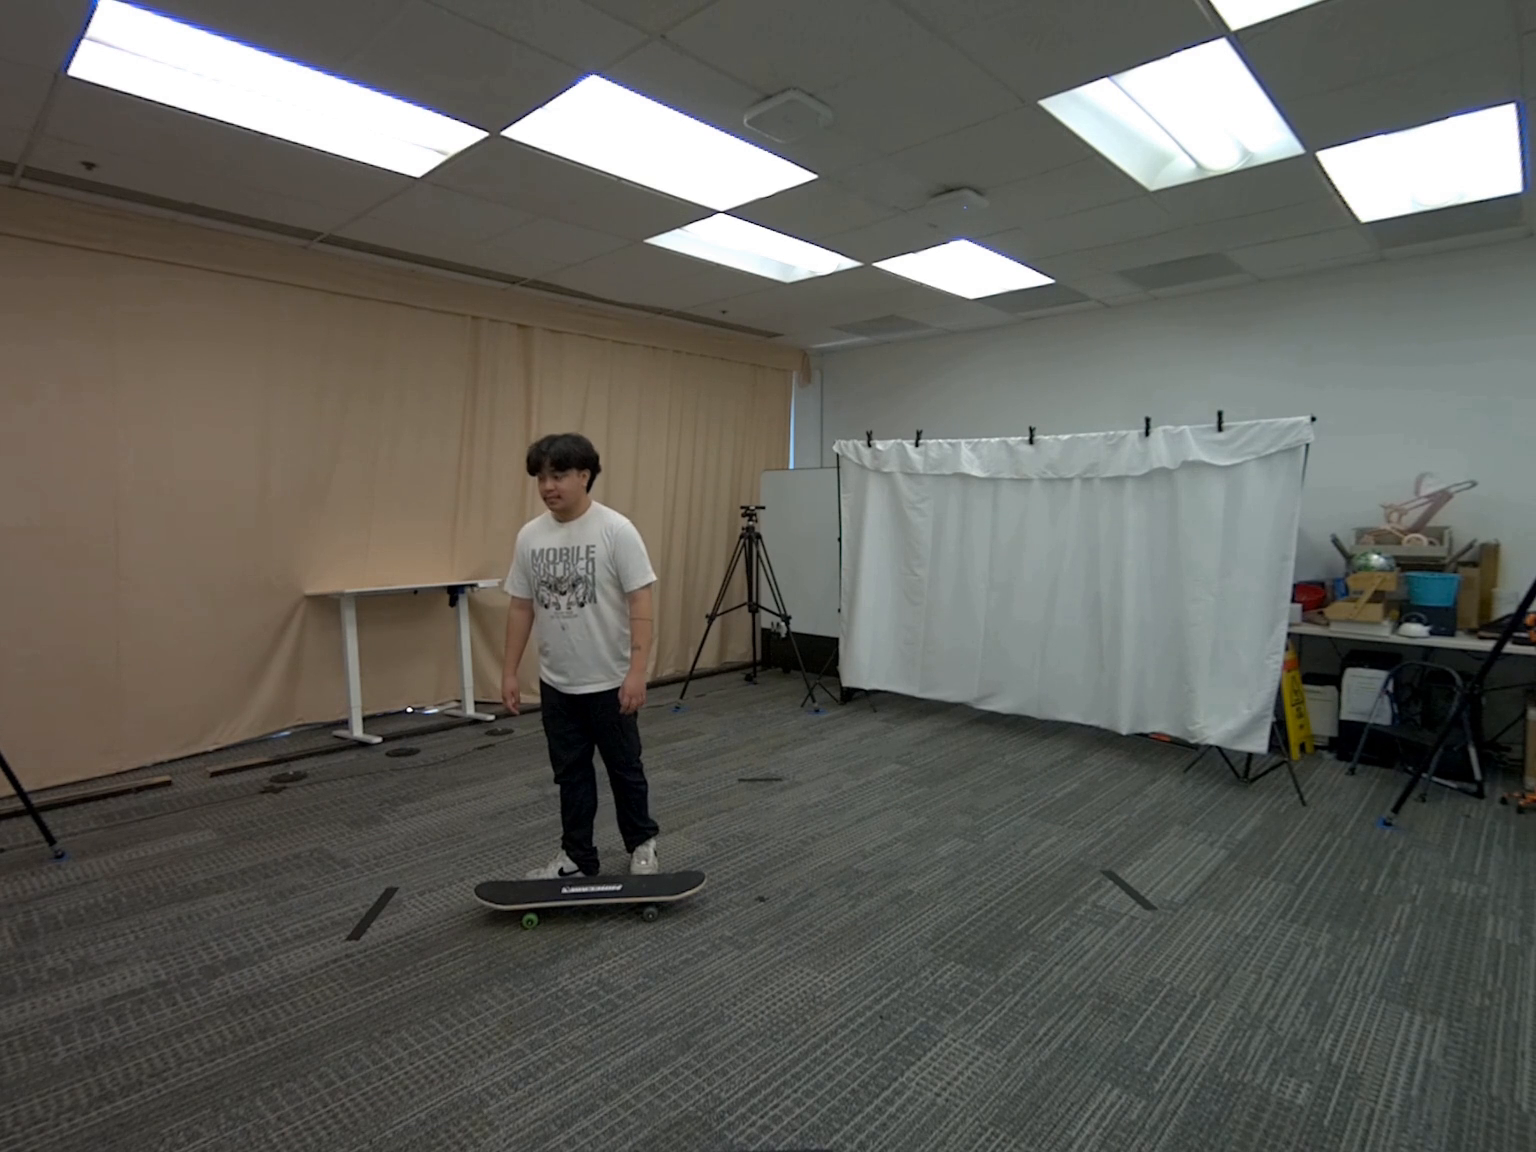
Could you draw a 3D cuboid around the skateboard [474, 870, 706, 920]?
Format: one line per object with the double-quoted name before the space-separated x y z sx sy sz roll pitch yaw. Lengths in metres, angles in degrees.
"skateboard" -0.598 1.097 2.881 0.780 0.110 0.195 -1 5 -6
